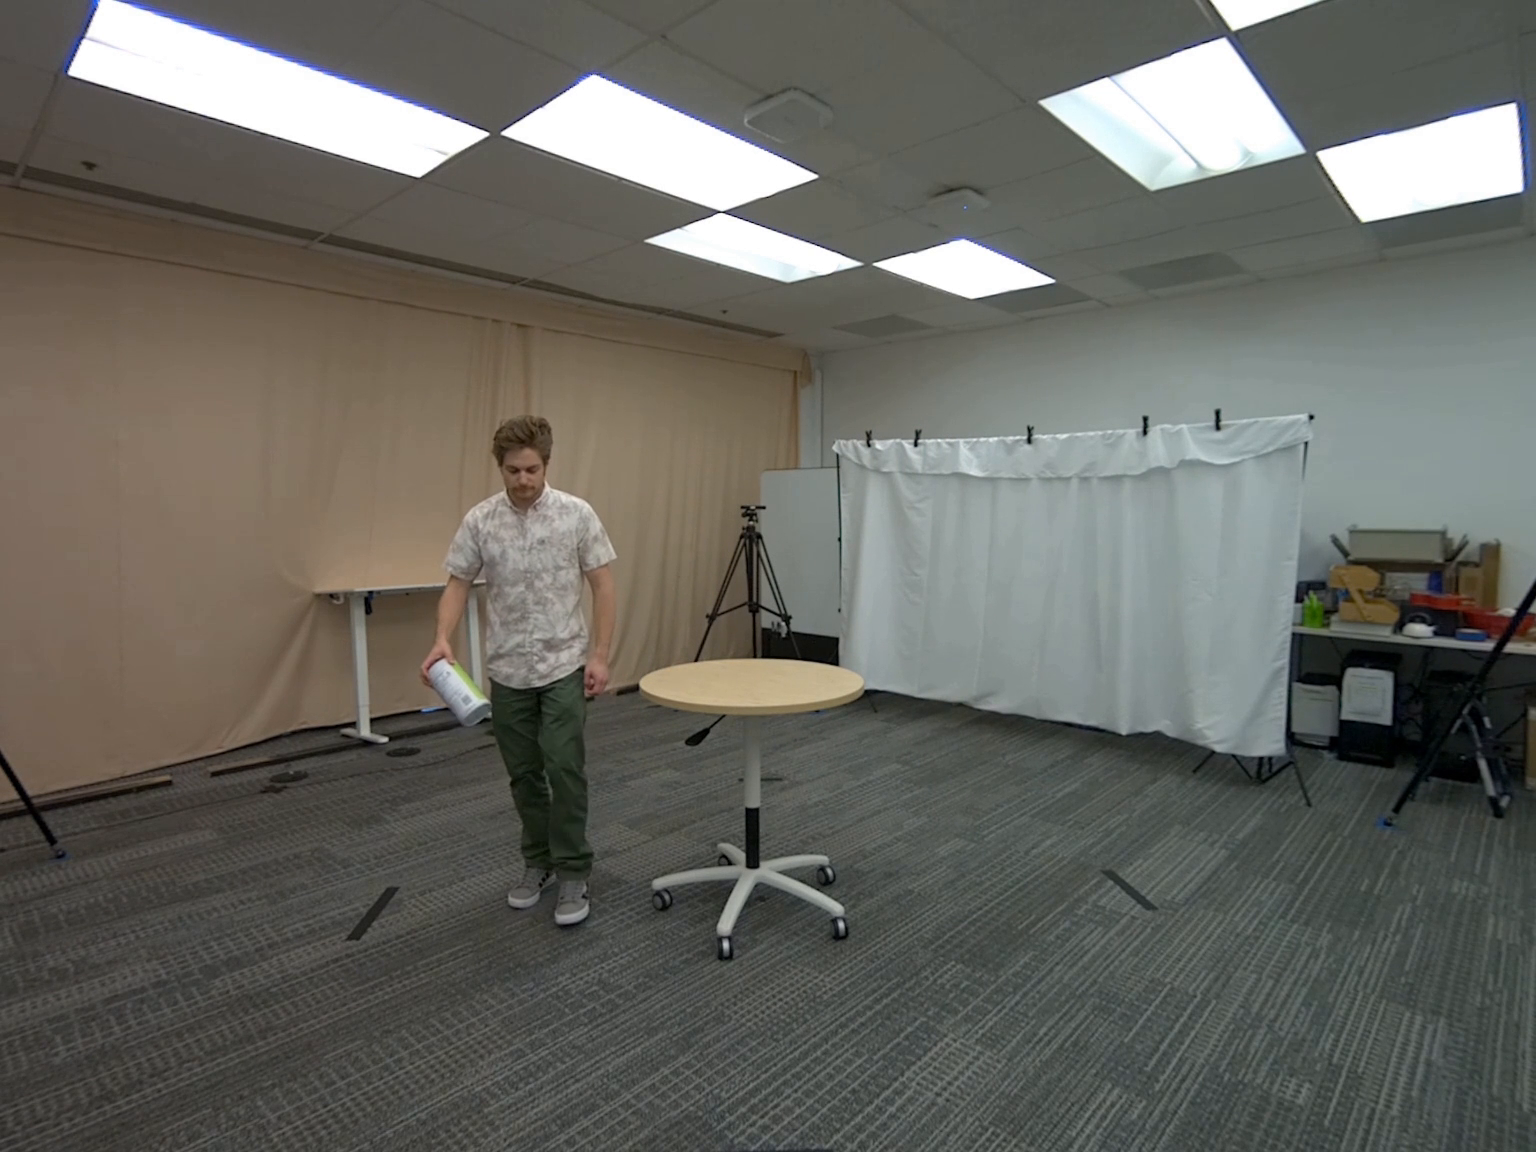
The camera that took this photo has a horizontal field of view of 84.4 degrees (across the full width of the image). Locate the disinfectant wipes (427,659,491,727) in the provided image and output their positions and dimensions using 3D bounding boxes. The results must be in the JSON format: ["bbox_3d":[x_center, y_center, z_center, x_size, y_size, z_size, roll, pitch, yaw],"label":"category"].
[{"bbox_3d":[-0.991,0.370,2.707,0.223,0.118,0.114,46,23,20],"label":"disinfectant wipes"}]
